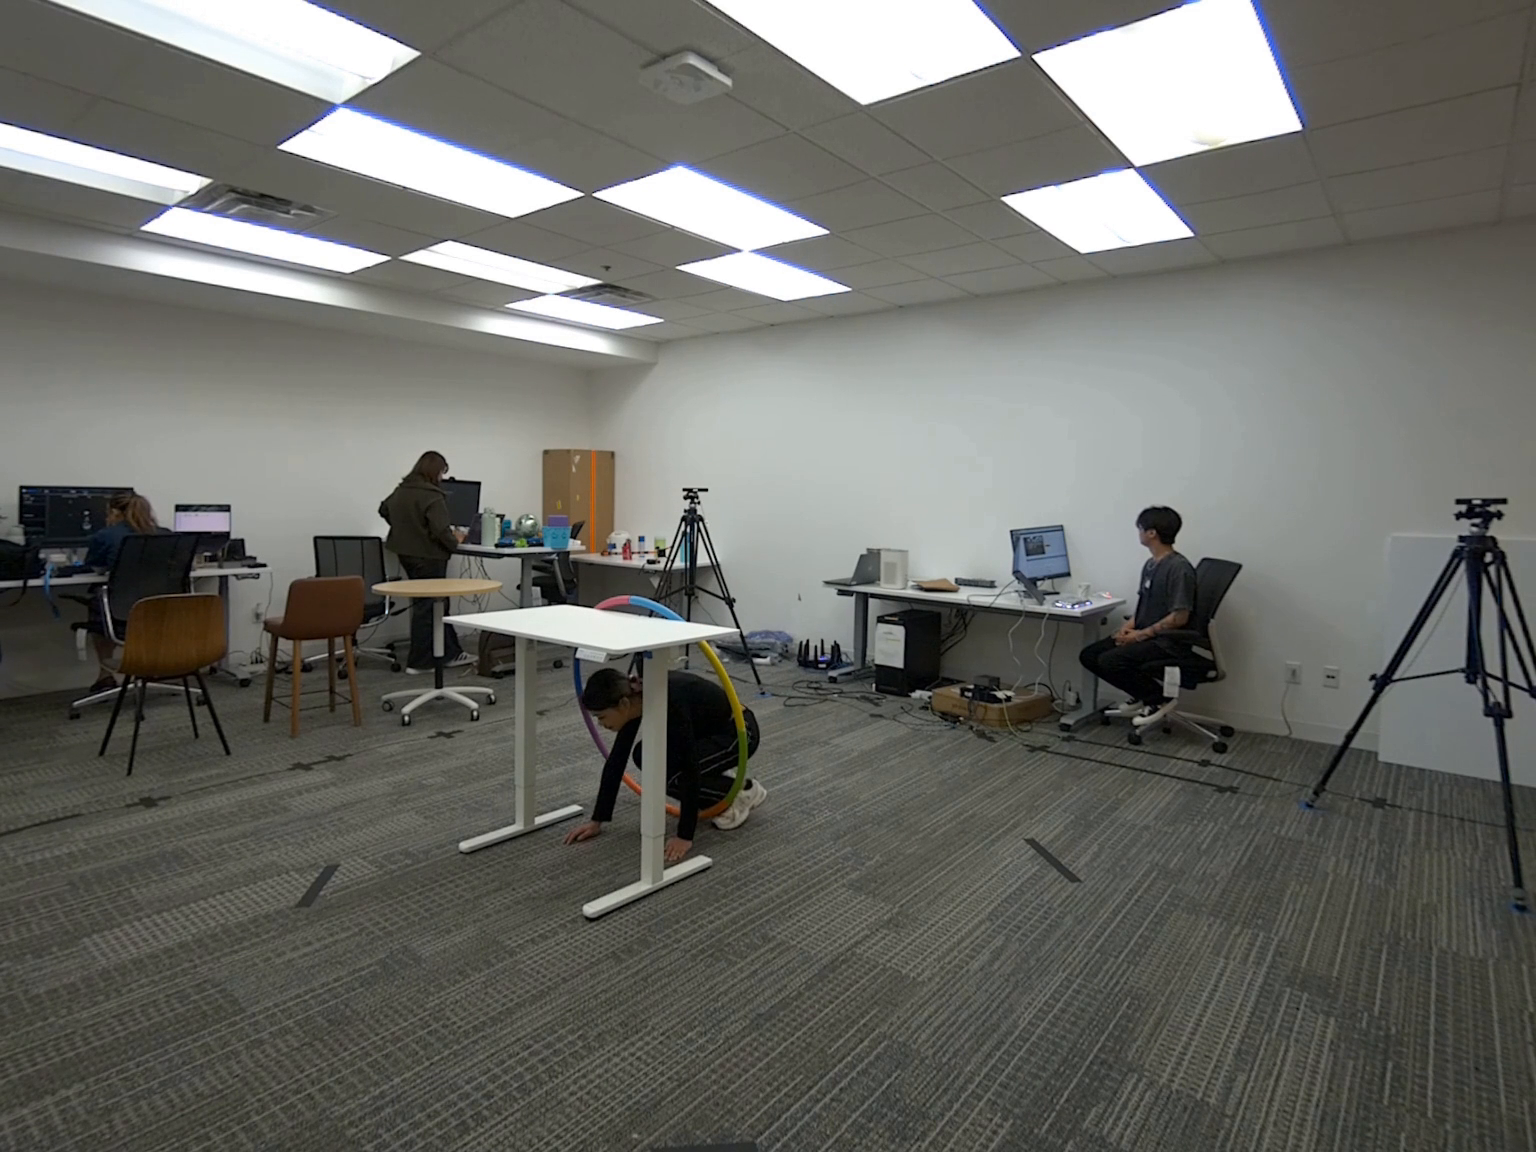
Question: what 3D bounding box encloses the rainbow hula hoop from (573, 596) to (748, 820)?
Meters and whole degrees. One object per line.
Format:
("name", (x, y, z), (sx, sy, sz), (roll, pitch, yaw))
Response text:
("rainbow hula hoop", (-0.487, 0.552, 3.531), (1.011, 0.964, 0.035), (4, 18, 40))
